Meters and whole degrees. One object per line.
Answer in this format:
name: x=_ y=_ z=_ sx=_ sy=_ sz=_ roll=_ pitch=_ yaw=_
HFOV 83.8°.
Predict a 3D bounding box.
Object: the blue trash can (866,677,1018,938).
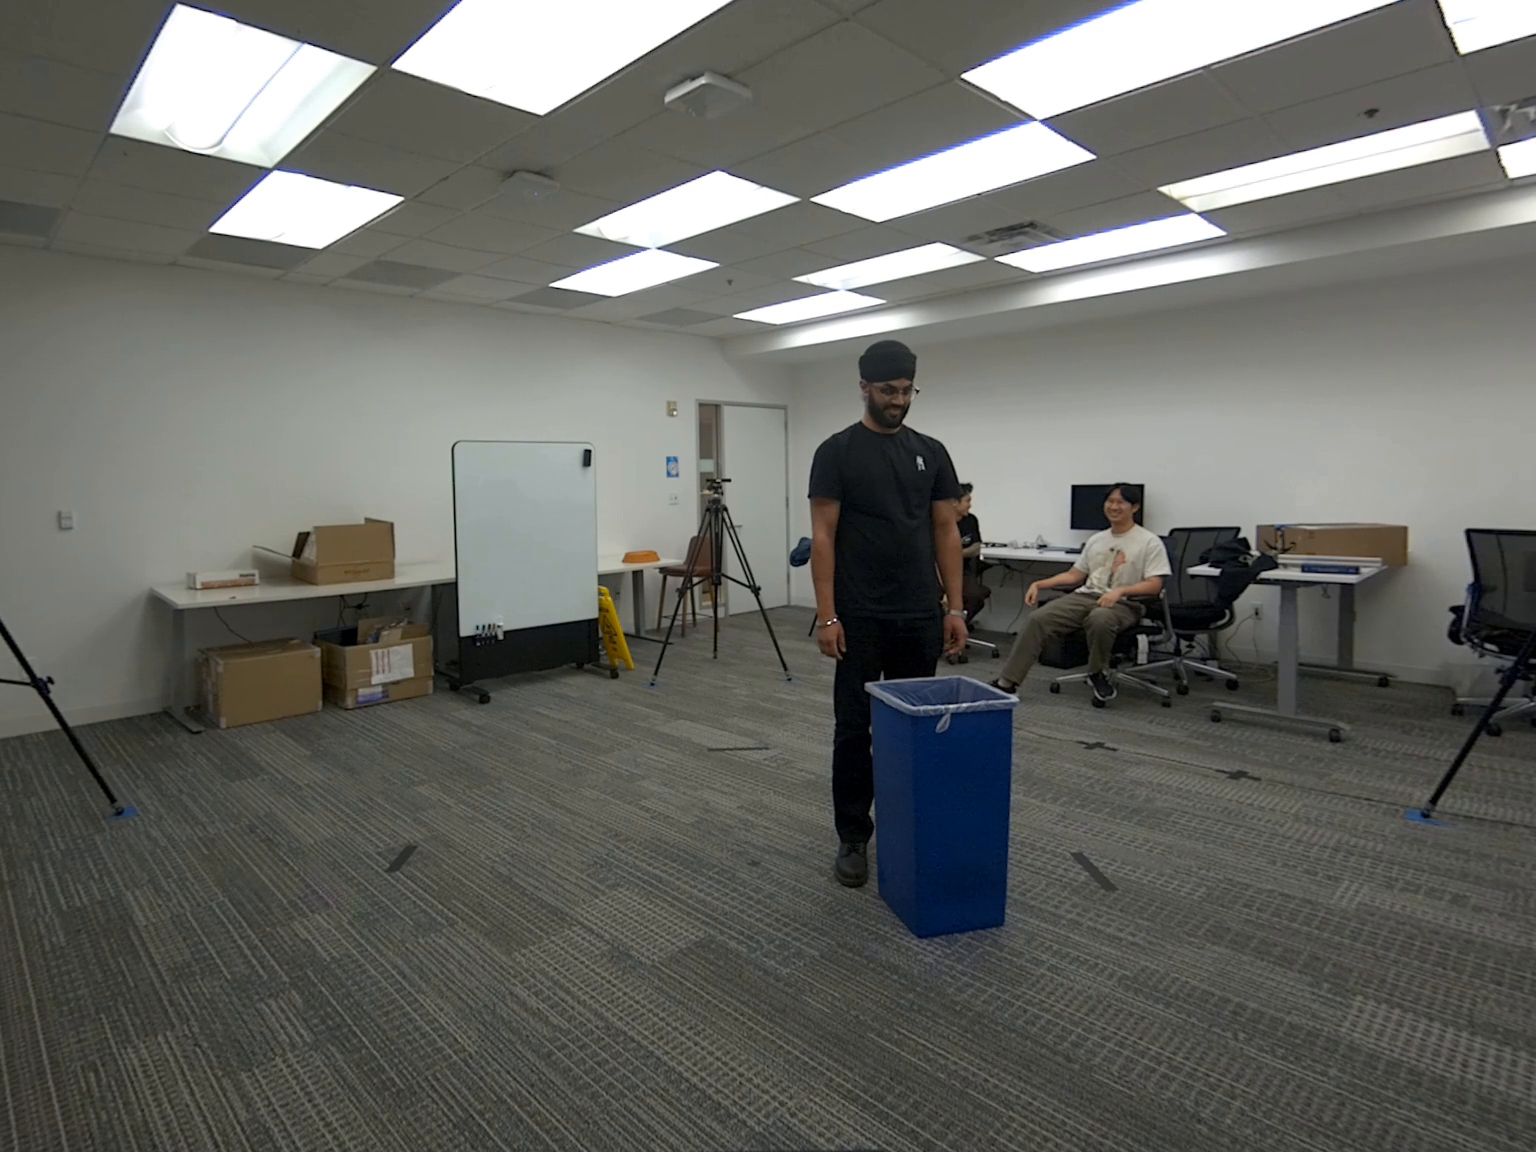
blue trash can: x=0.545 y=0.720 z=2.742 sx=0.373 sy=0.711 sz=0.381 roll=-2 pitch=4 yaw=-16
